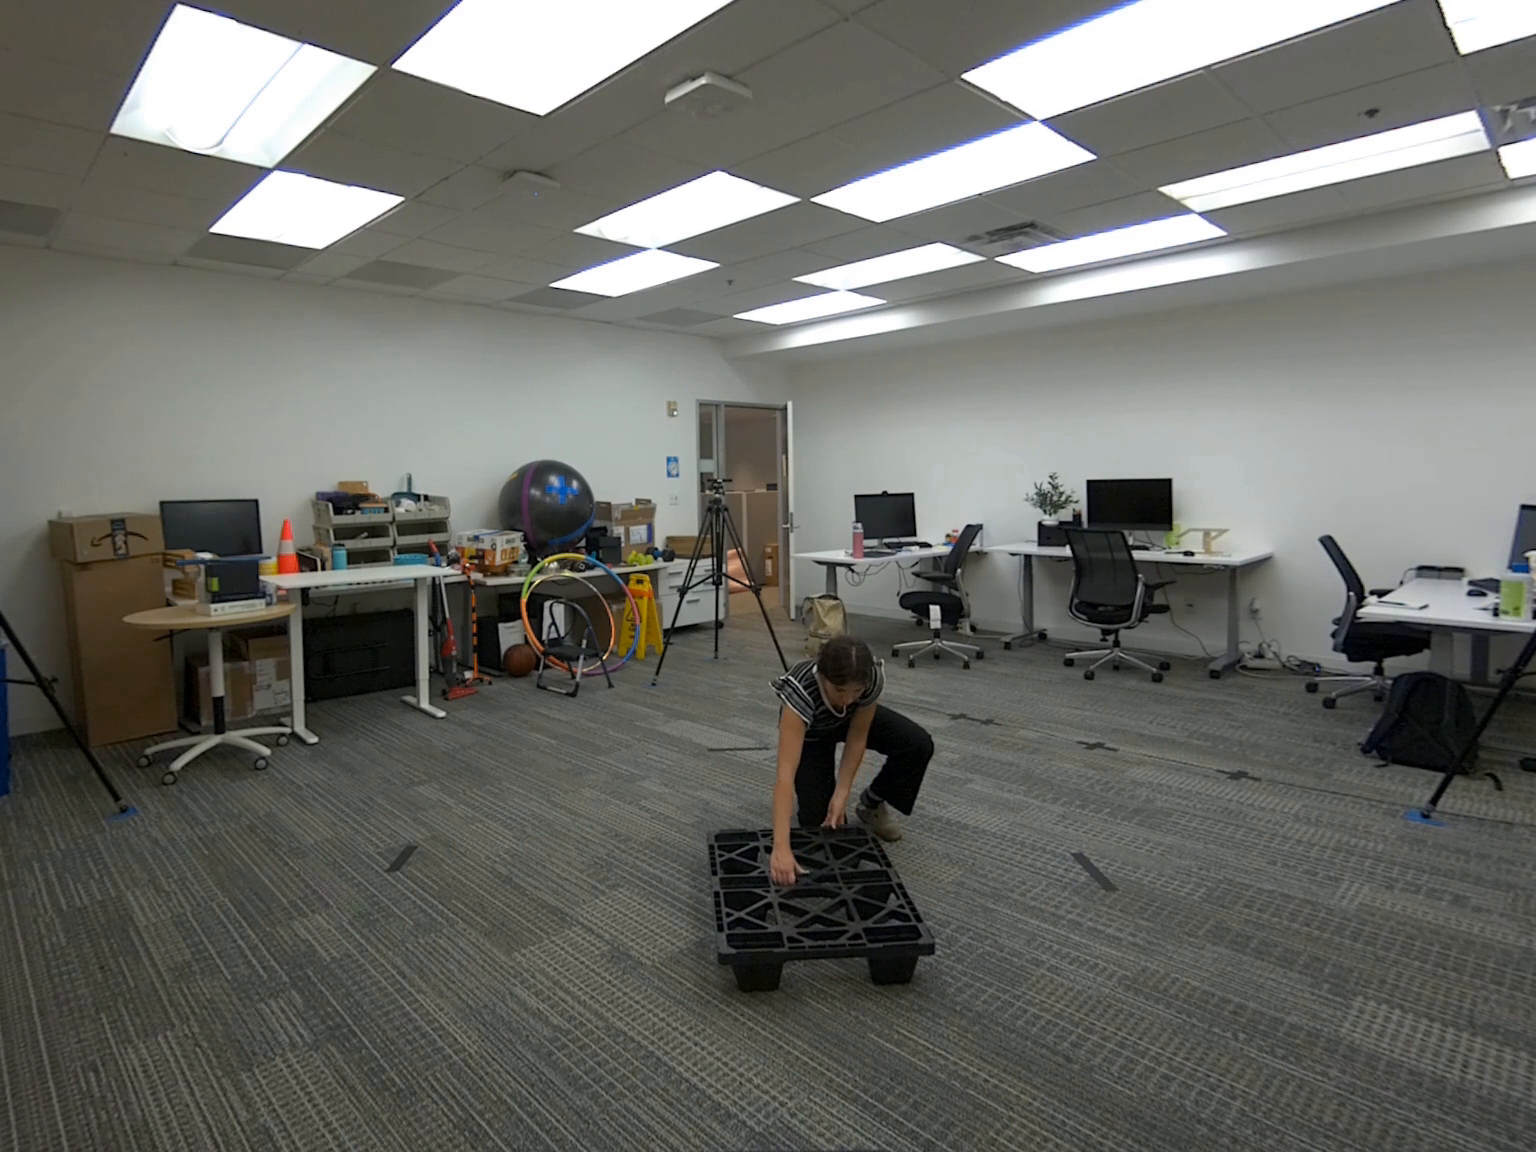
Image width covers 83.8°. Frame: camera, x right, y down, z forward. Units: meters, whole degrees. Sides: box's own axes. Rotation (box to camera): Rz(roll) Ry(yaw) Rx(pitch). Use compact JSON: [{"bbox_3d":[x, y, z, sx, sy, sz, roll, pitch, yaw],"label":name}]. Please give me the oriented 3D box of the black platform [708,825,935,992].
[{"bbox_3d":[0.119,1.020,2.700,0.603,0.142,0.812,-3,6,-5],"label":"black platform"}]
